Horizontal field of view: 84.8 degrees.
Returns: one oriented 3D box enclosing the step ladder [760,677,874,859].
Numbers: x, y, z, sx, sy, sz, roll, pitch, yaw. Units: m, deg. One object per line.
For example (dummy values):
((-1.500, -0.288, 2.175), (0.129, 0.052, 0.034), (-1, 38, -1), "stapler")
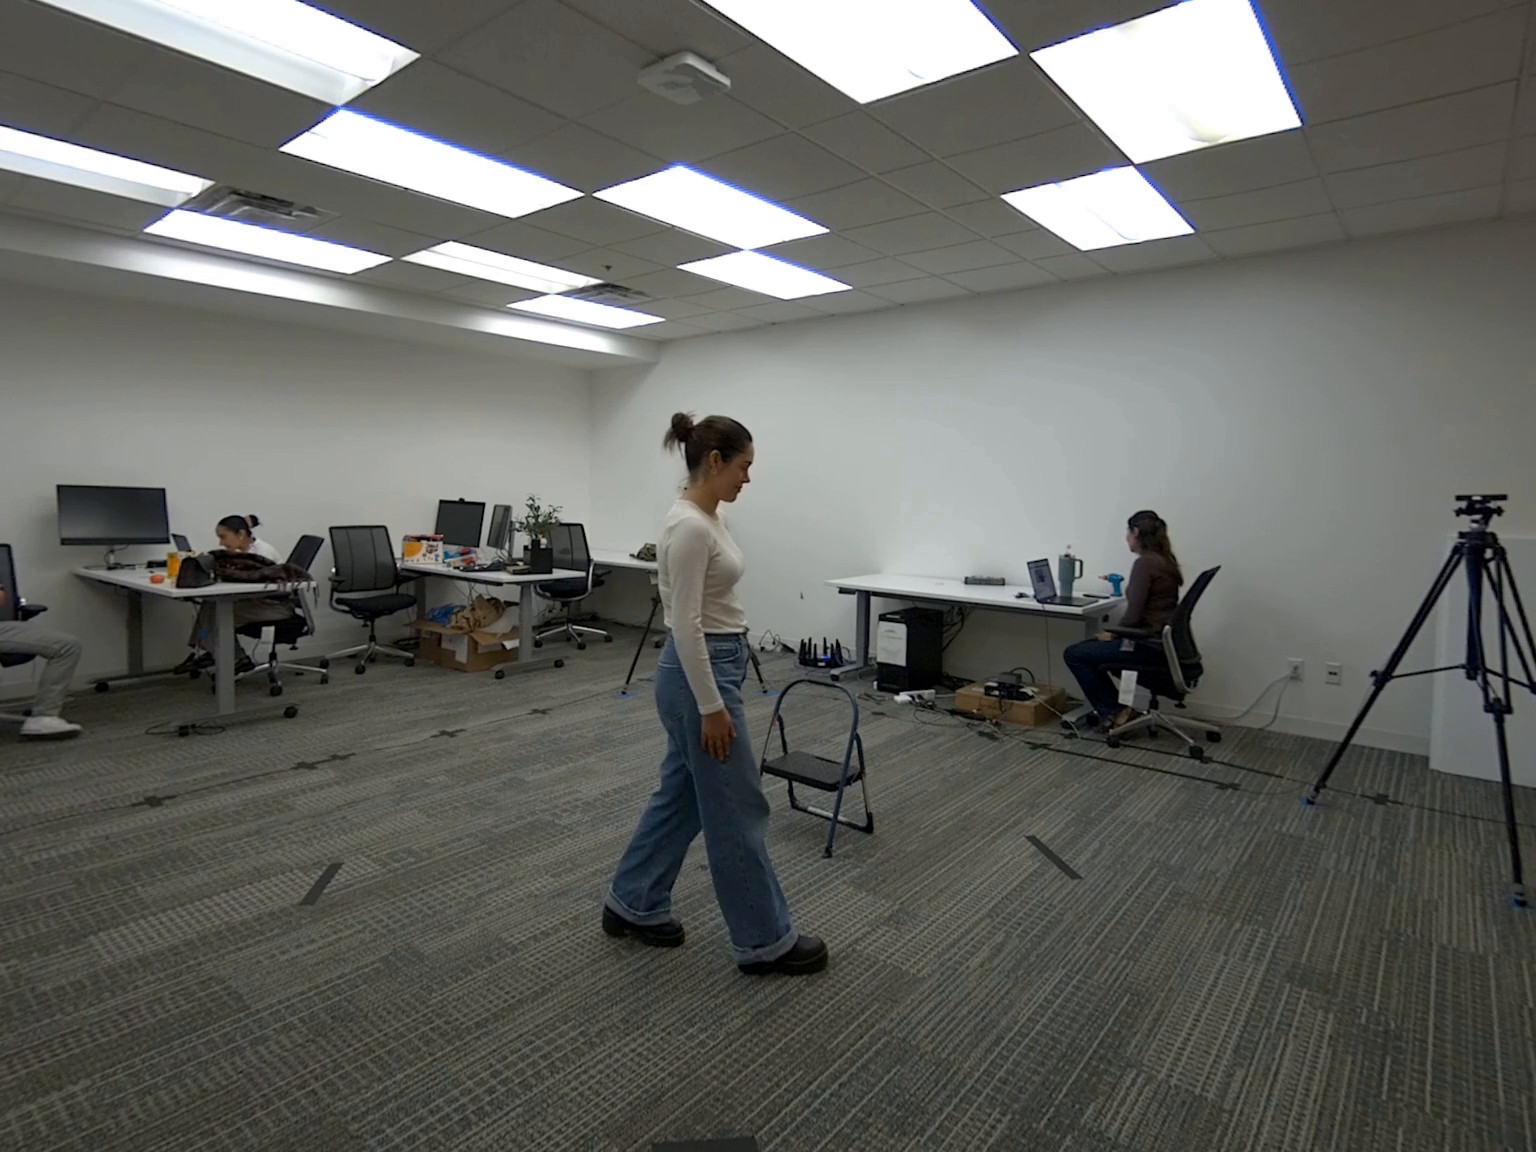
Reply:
((0.167, 0.734, 3.462), (0.445, 0.604, 0.339), (4, 4, 39), "step ladder")
